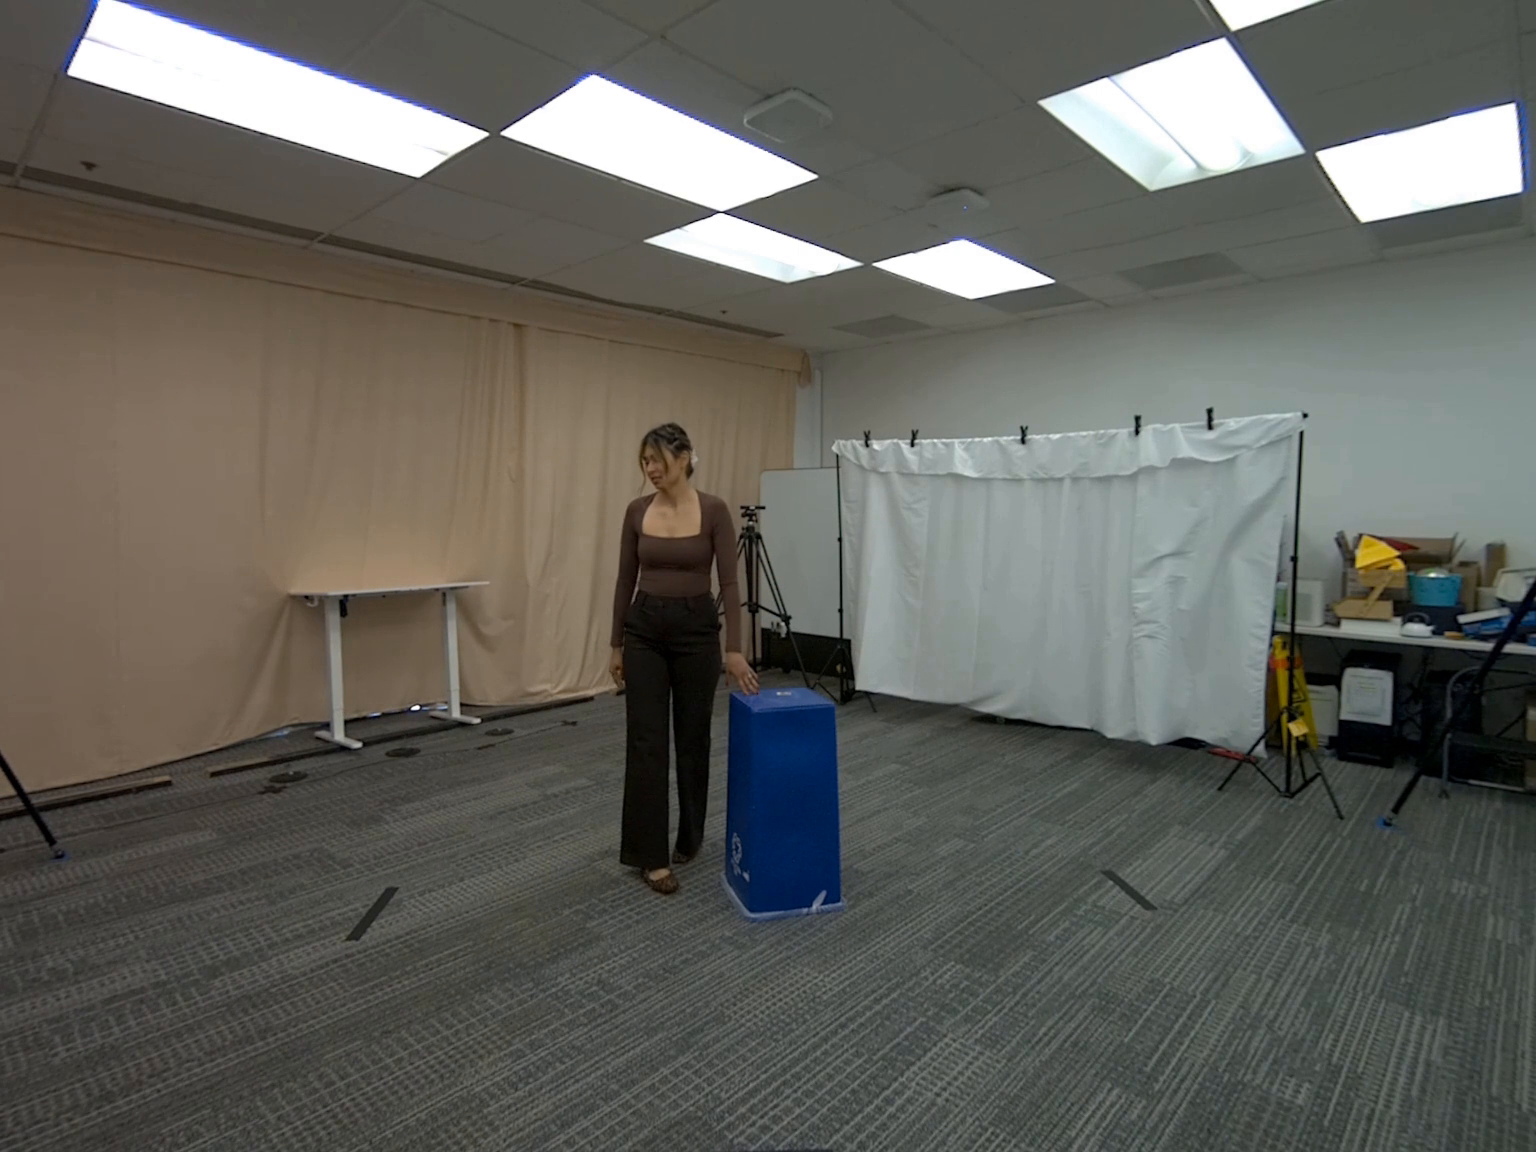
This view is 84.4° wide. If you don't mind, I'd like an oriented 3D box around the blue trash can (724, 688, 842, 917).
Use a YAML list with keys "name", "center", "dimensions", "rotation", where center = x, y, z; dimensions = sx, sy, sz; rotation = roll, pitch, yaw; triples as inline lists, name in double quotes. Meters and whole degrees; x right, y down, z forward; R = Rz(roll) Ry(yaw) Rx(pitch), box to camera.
- name: "blue trash can"
  center: [0.051, 0.786, 3.018]
  dimensions: [0.371, 0.712, 0.381]
  rotation: [-1, 2, -17]
